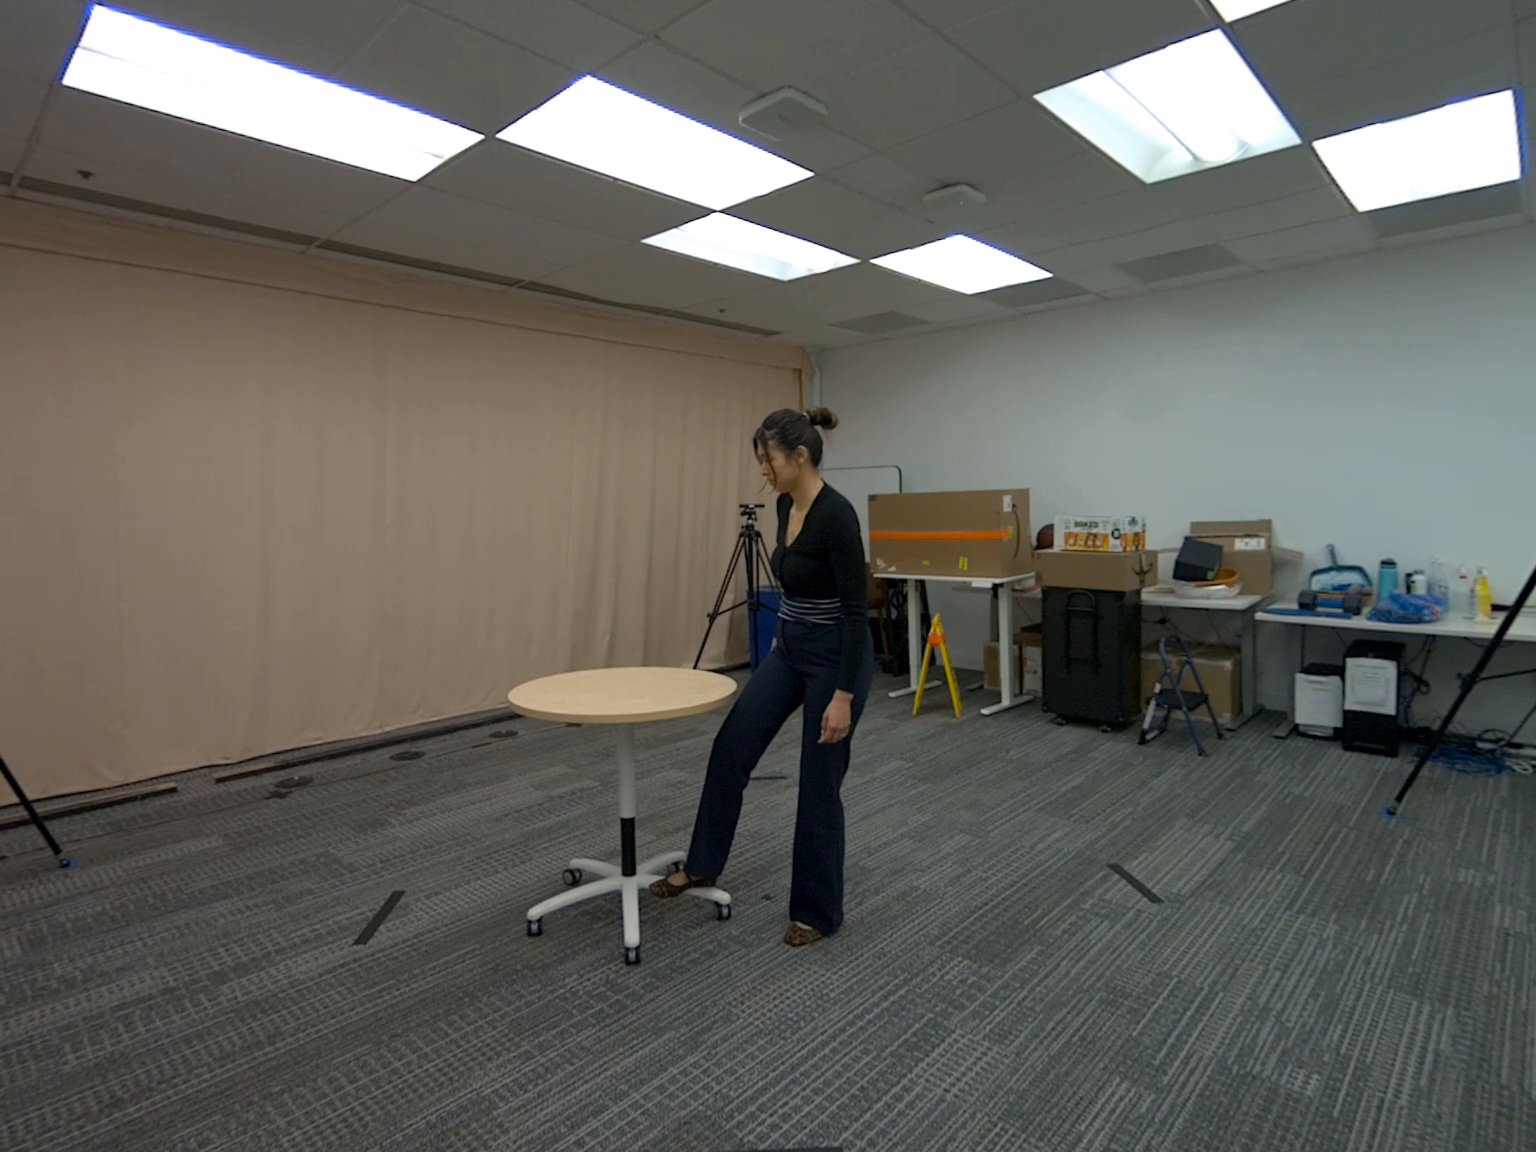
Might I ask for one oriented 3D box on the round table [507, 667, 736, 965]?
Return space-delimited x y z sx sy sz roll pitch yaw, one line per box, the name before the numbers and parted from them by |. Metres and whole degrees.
round table | -0.482 0.776 2.862 0.763 0.792 0.766 -1 3 -2
